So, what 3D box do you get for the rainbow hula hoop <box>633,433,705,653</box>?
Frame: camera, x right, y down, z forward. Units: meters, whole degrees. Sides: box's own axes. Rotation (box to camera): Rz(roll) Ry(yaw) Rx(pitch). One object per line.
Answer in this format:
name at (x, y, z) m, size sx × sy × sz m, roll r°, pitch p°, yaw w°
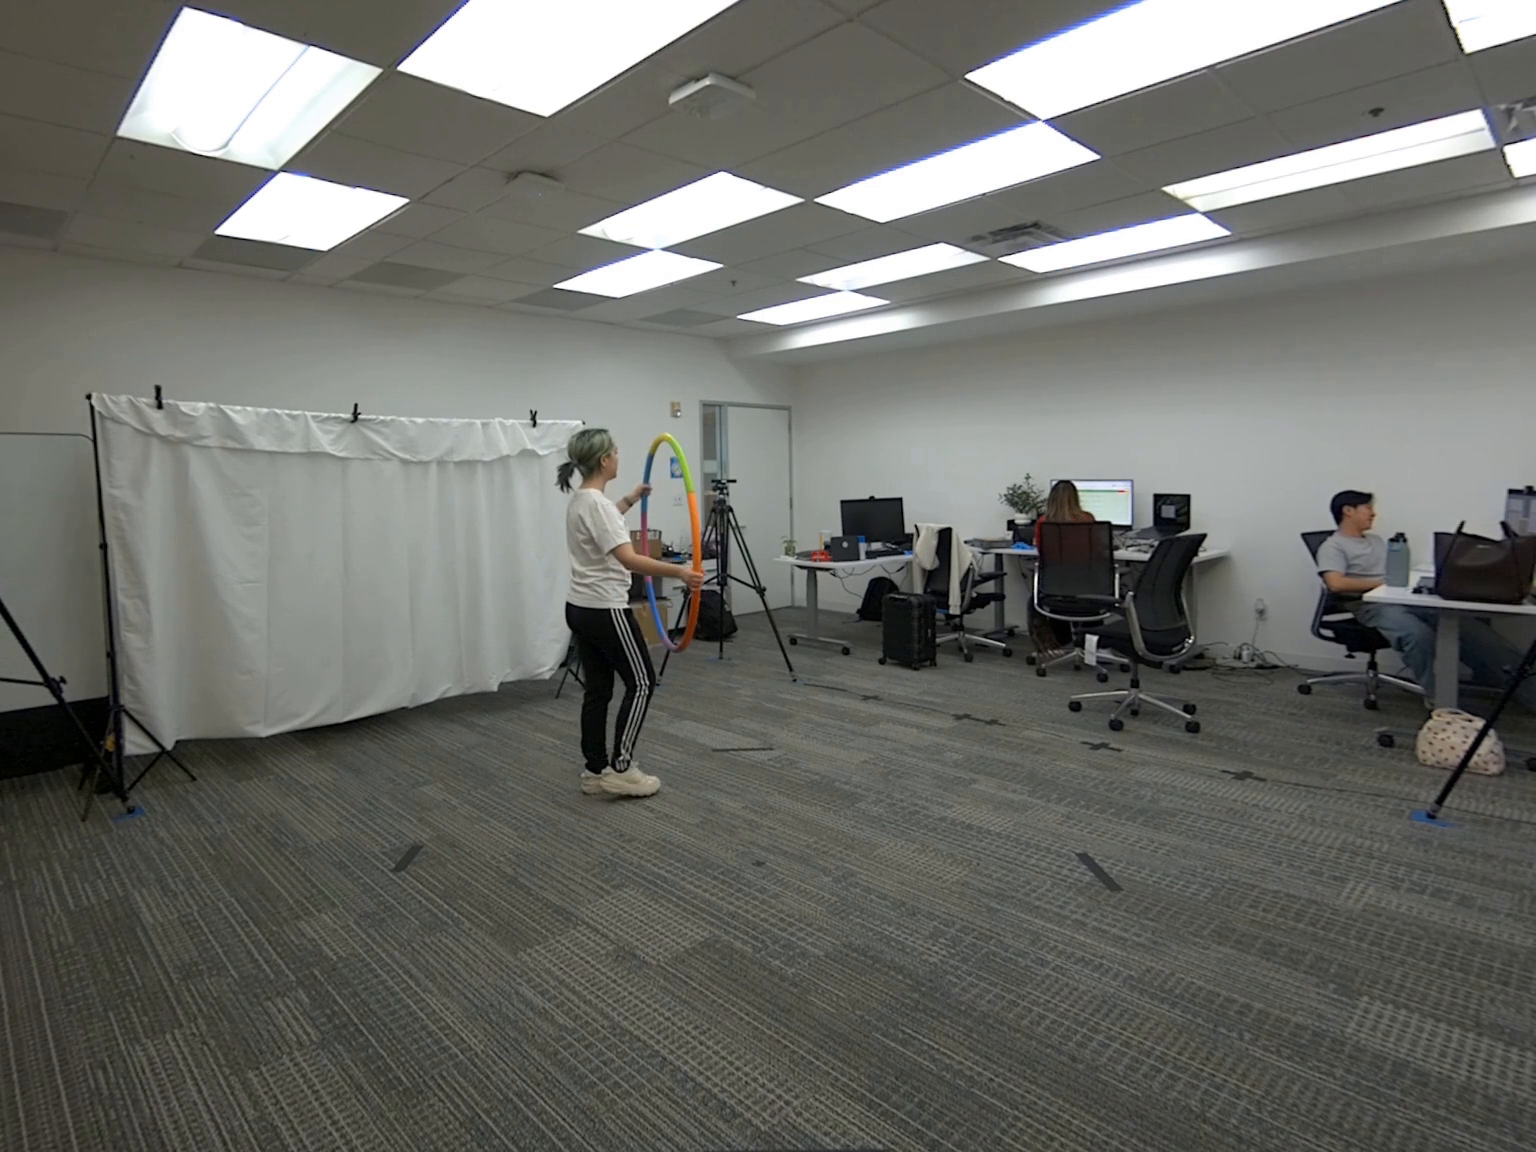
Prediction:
rainbow hula hoop at (-0.456, -0.152, 3.874) m, size 0.035 × 0.975 × 0.999 m, roll -1°, pitch 5°, yaw -20°
